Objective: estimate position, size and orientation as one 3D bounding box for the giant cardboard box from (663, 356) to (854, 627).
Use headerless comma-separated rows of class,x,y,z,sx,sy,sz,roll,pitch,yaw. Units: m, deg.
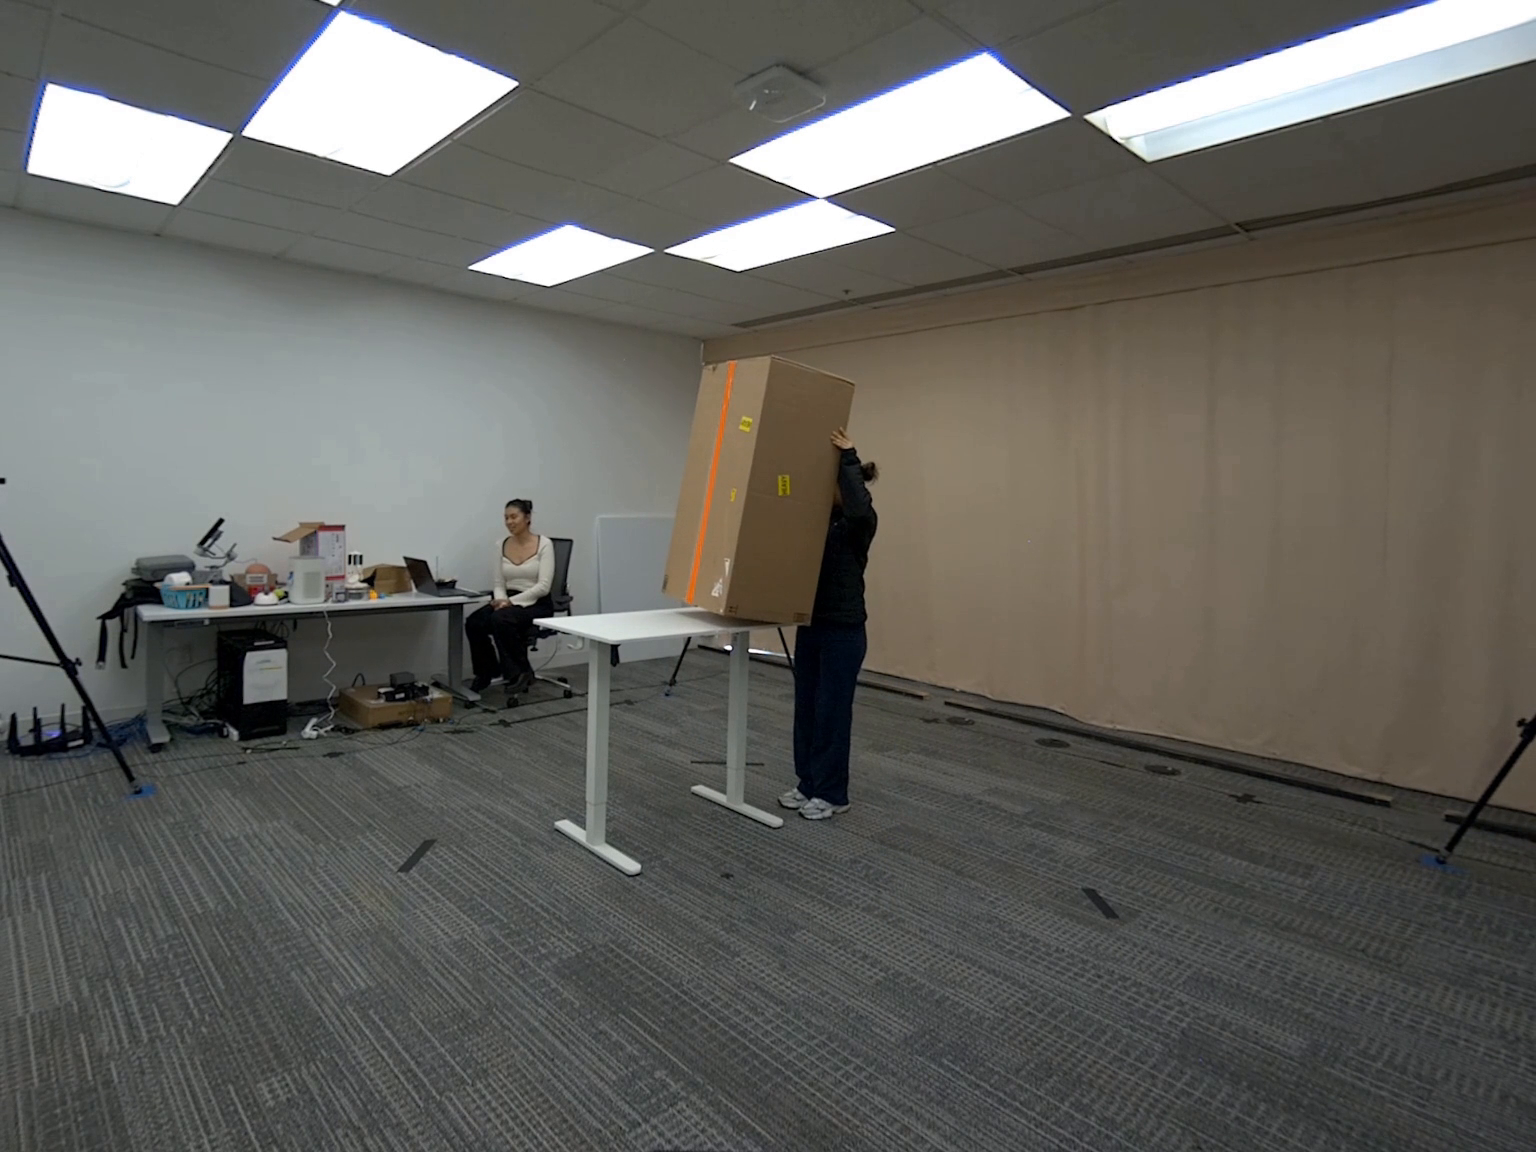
giant cardboard box,-0.066,-0.353,3.579,0.436,1.026,0.598,9,2,-30
